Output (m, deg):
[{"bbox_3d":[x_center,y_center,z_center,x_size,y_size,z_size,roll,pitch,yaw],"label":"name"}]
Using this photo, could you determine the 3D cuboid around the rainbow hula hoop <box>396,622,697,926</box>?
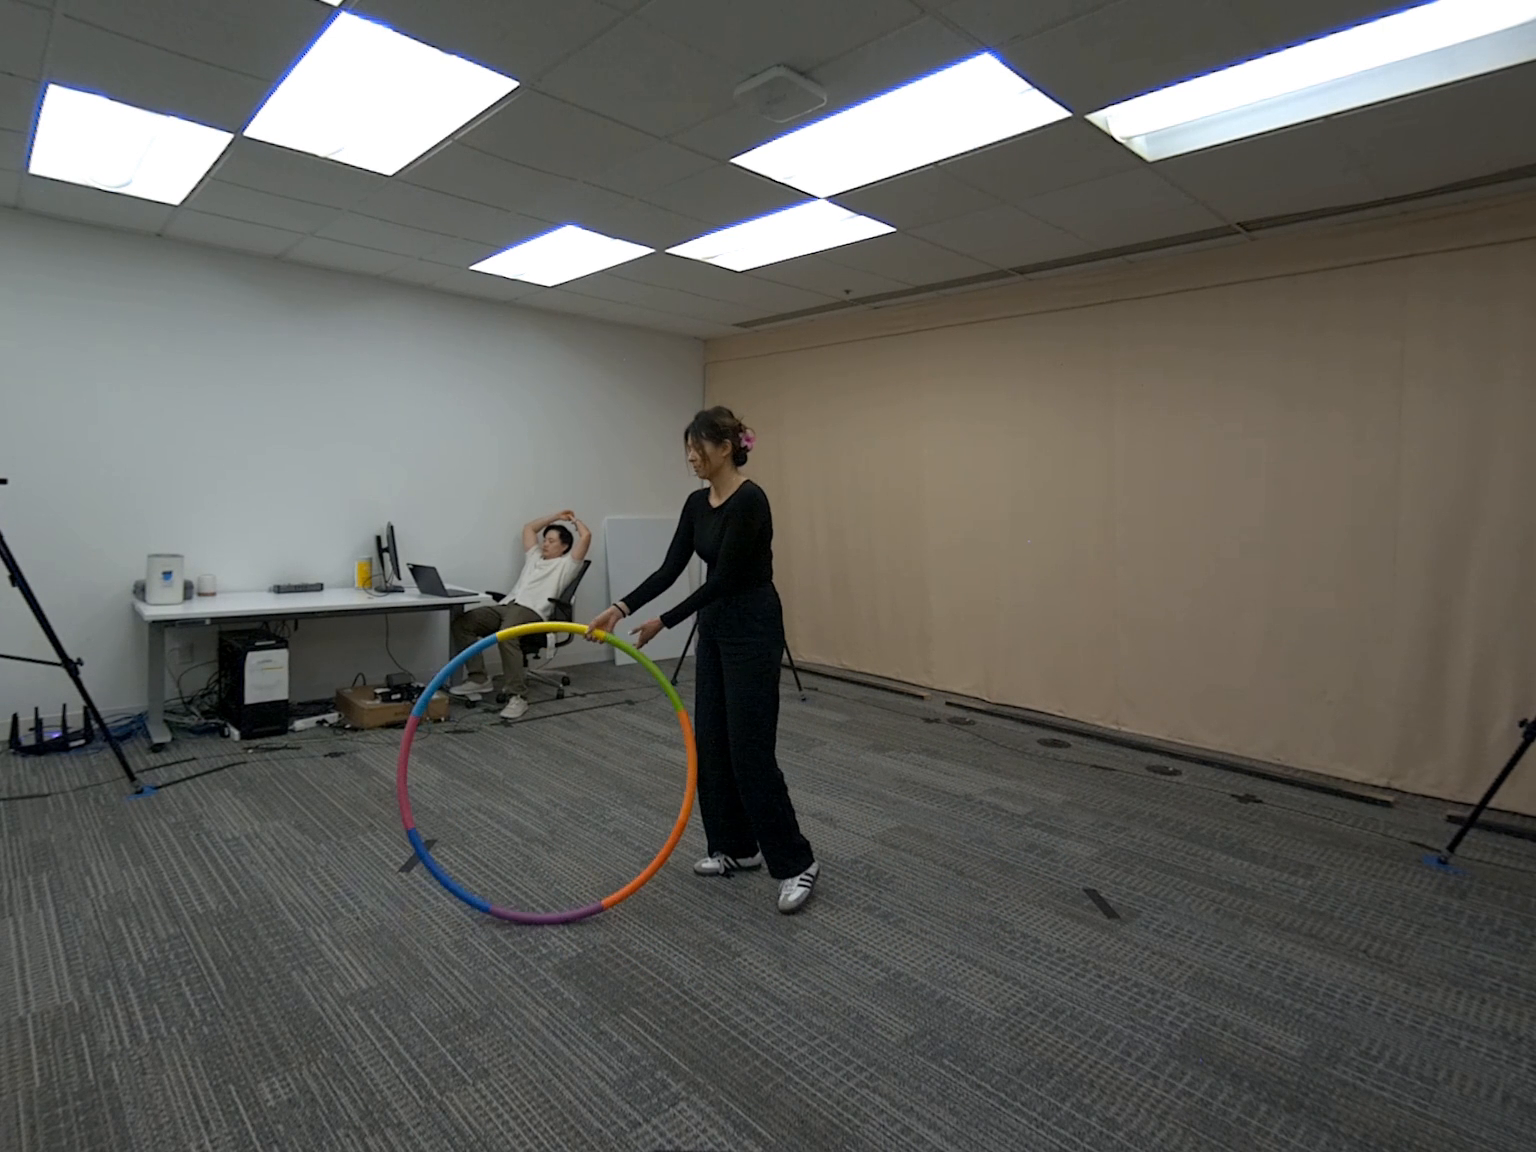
[{"bbox_3d":[-0.727,0.652,2.806,0.975,0.986,0.035,1,-11,-4],"label":"rainbow hula hoop"}]
